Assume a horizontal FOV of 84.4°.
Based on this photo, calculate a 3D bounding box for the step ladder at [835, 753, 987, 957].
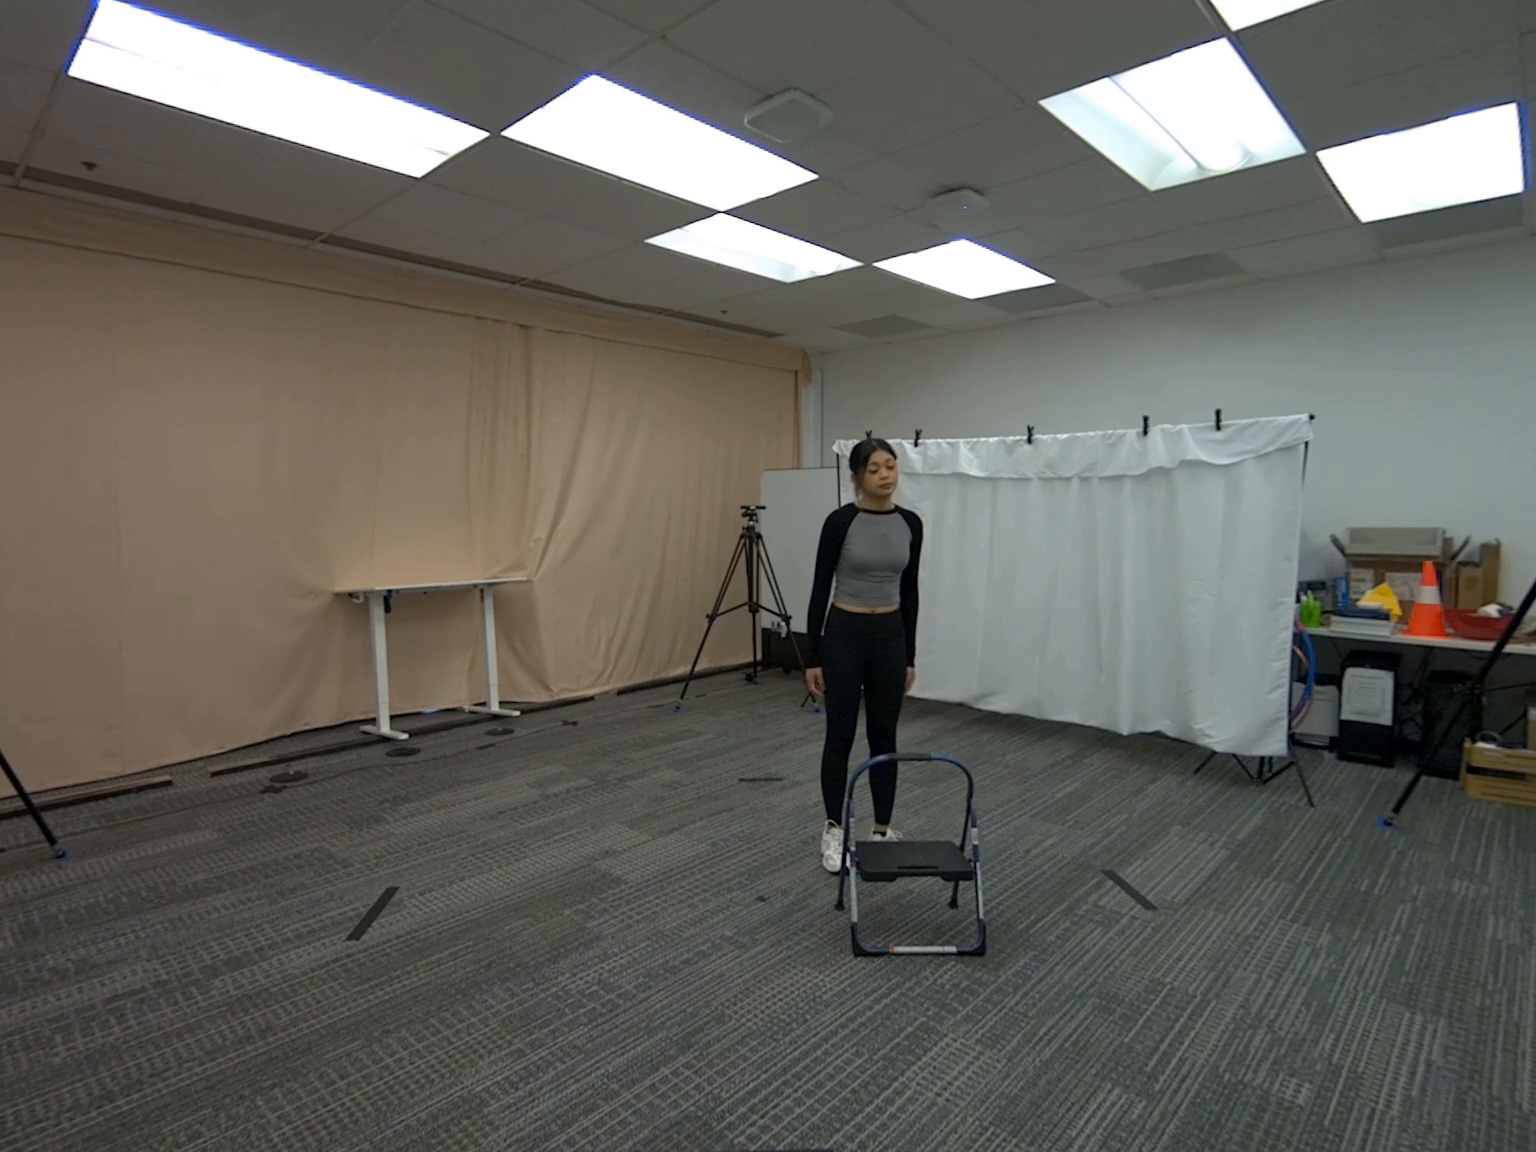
[{"bbox_3d":[0.460,0.859,2.751,0.430,0.605,0.351,0,3,-3],"label":"step ladder"}]
